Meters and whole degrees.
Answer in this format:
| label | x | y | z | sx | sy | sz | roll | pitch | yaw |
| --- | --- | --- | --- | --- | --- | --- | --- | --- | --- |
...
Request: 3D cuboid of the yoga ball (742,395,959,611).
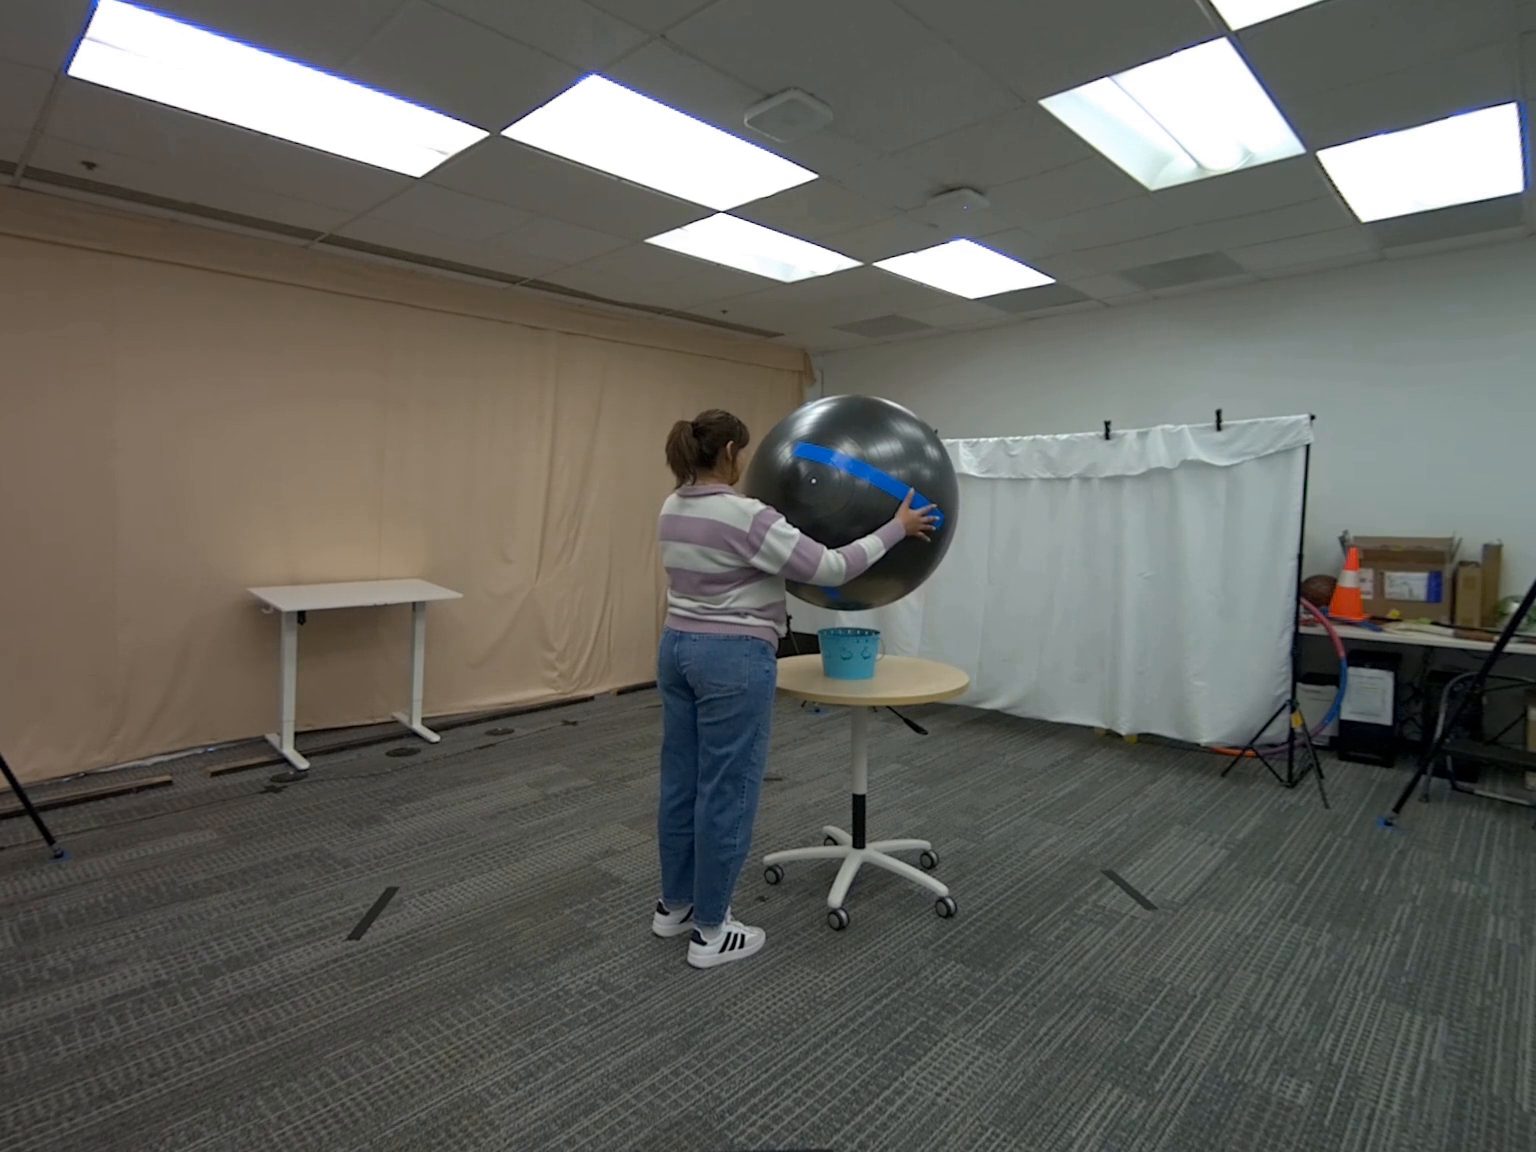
| label | x | y | z | sx | sy | sz | roll | pitch | yaw |
| --- | --- | --- | --- | --- | --- | --- | --- | --- | --- |
| yoga ball | 0.287 | -0.251 | 2.991 | 0.757 | 0.756 | 0.760 | 0 | 4 | -2 |
